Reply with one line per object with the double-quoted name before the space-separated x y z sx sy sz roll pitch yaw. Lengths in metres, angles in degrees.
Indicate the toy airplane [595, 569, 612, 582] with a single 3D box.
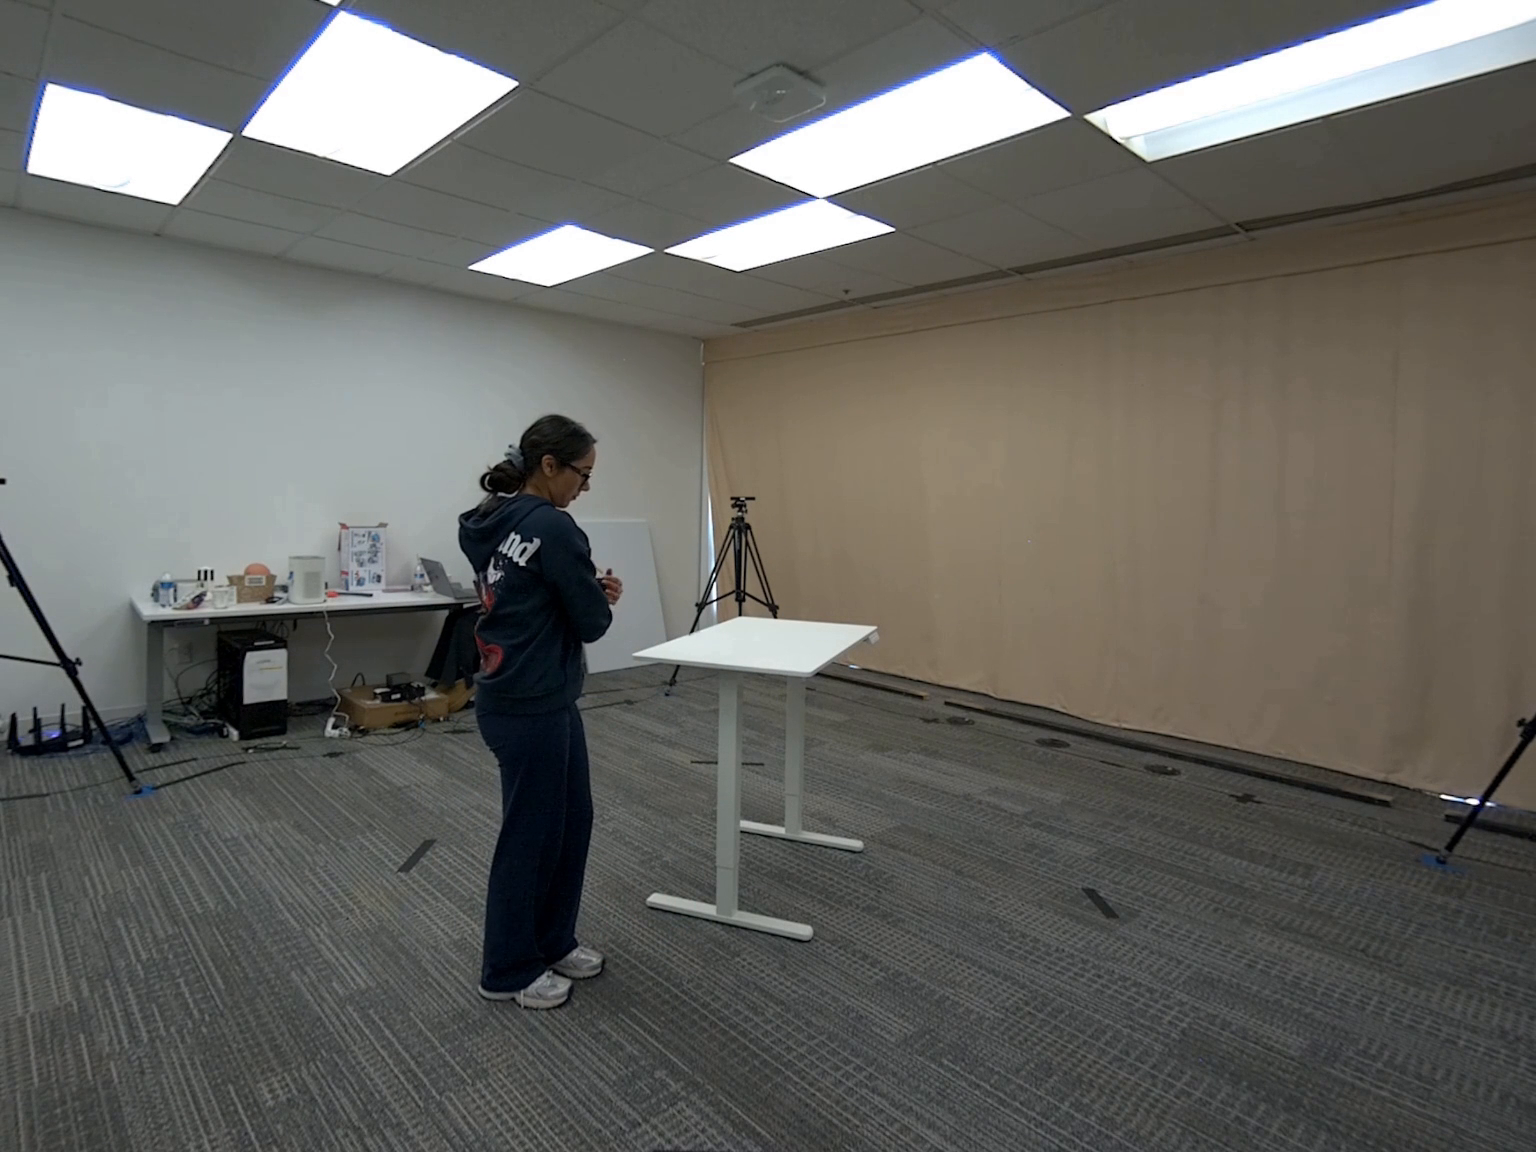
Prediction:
"toy airplane" -0.638 0.027 2.484 0.260 0.258 0.151 -36 -36 22
